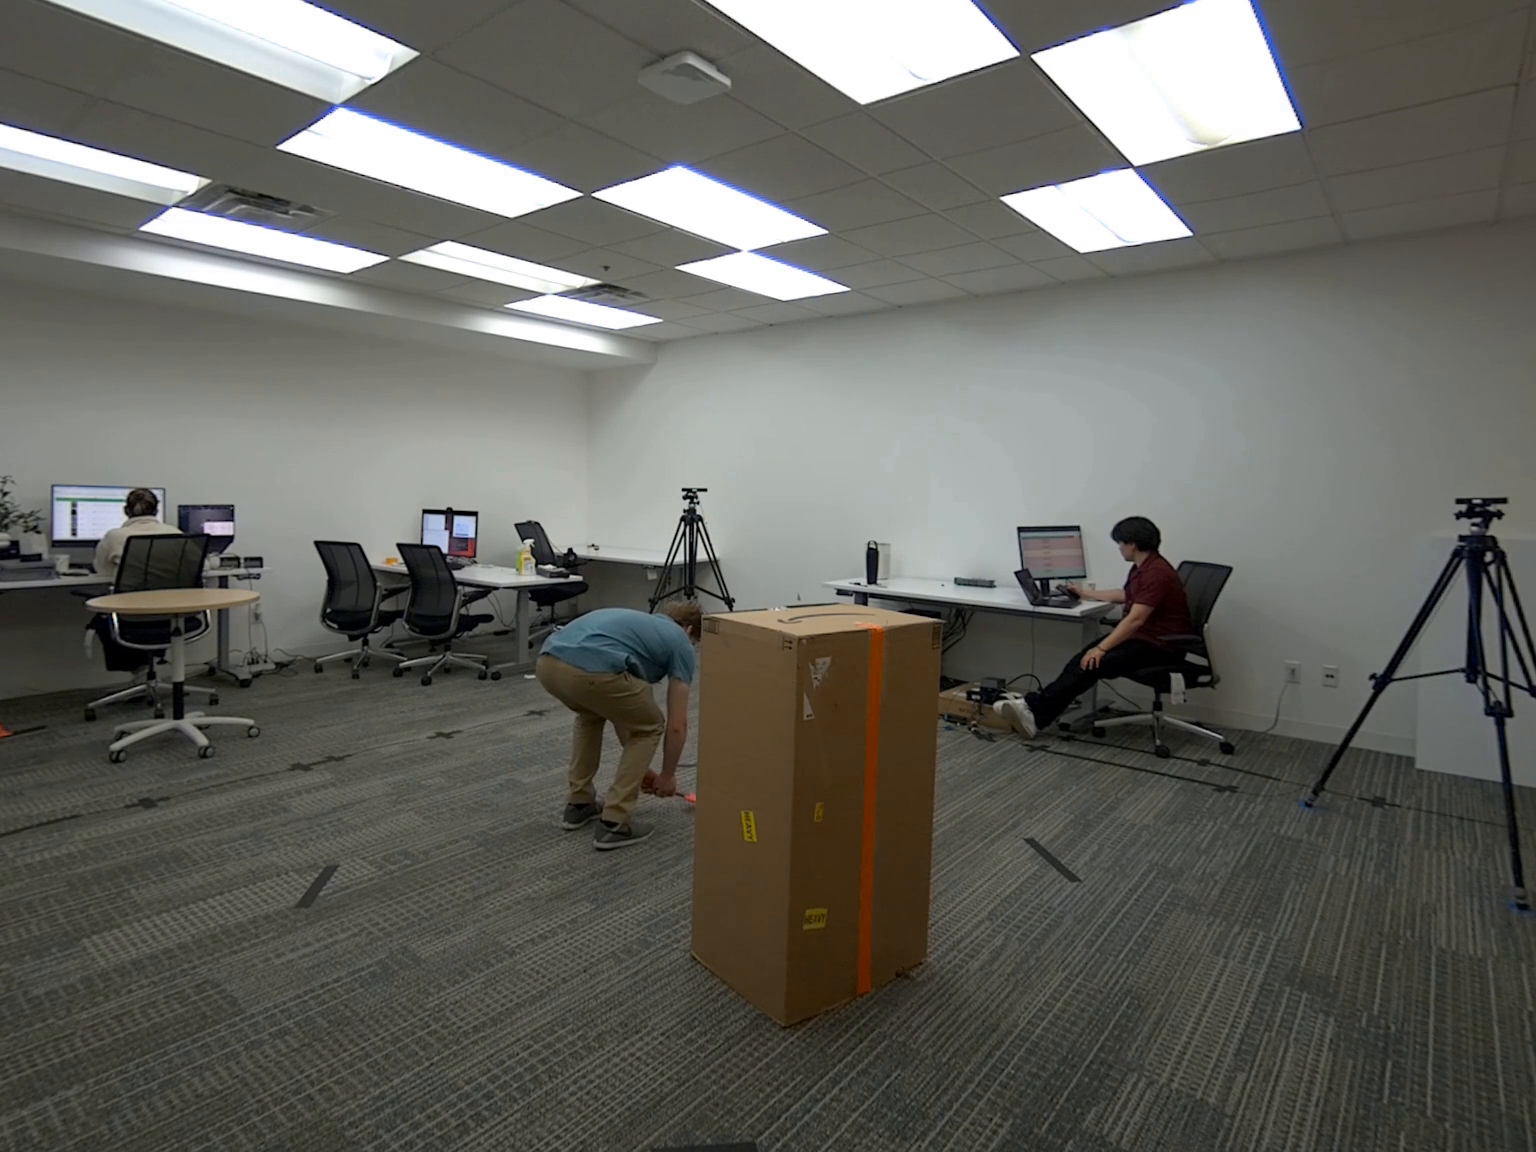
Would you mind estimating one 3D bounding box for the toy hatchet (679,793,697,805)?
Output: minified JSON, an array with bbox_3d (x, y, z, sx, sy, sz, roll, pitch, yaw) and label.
[{"bbox_3d":[-0.420,0.938,3.648,0.262,0.029,0.135,12,3,-29],"label":"toy hatchet"}]
